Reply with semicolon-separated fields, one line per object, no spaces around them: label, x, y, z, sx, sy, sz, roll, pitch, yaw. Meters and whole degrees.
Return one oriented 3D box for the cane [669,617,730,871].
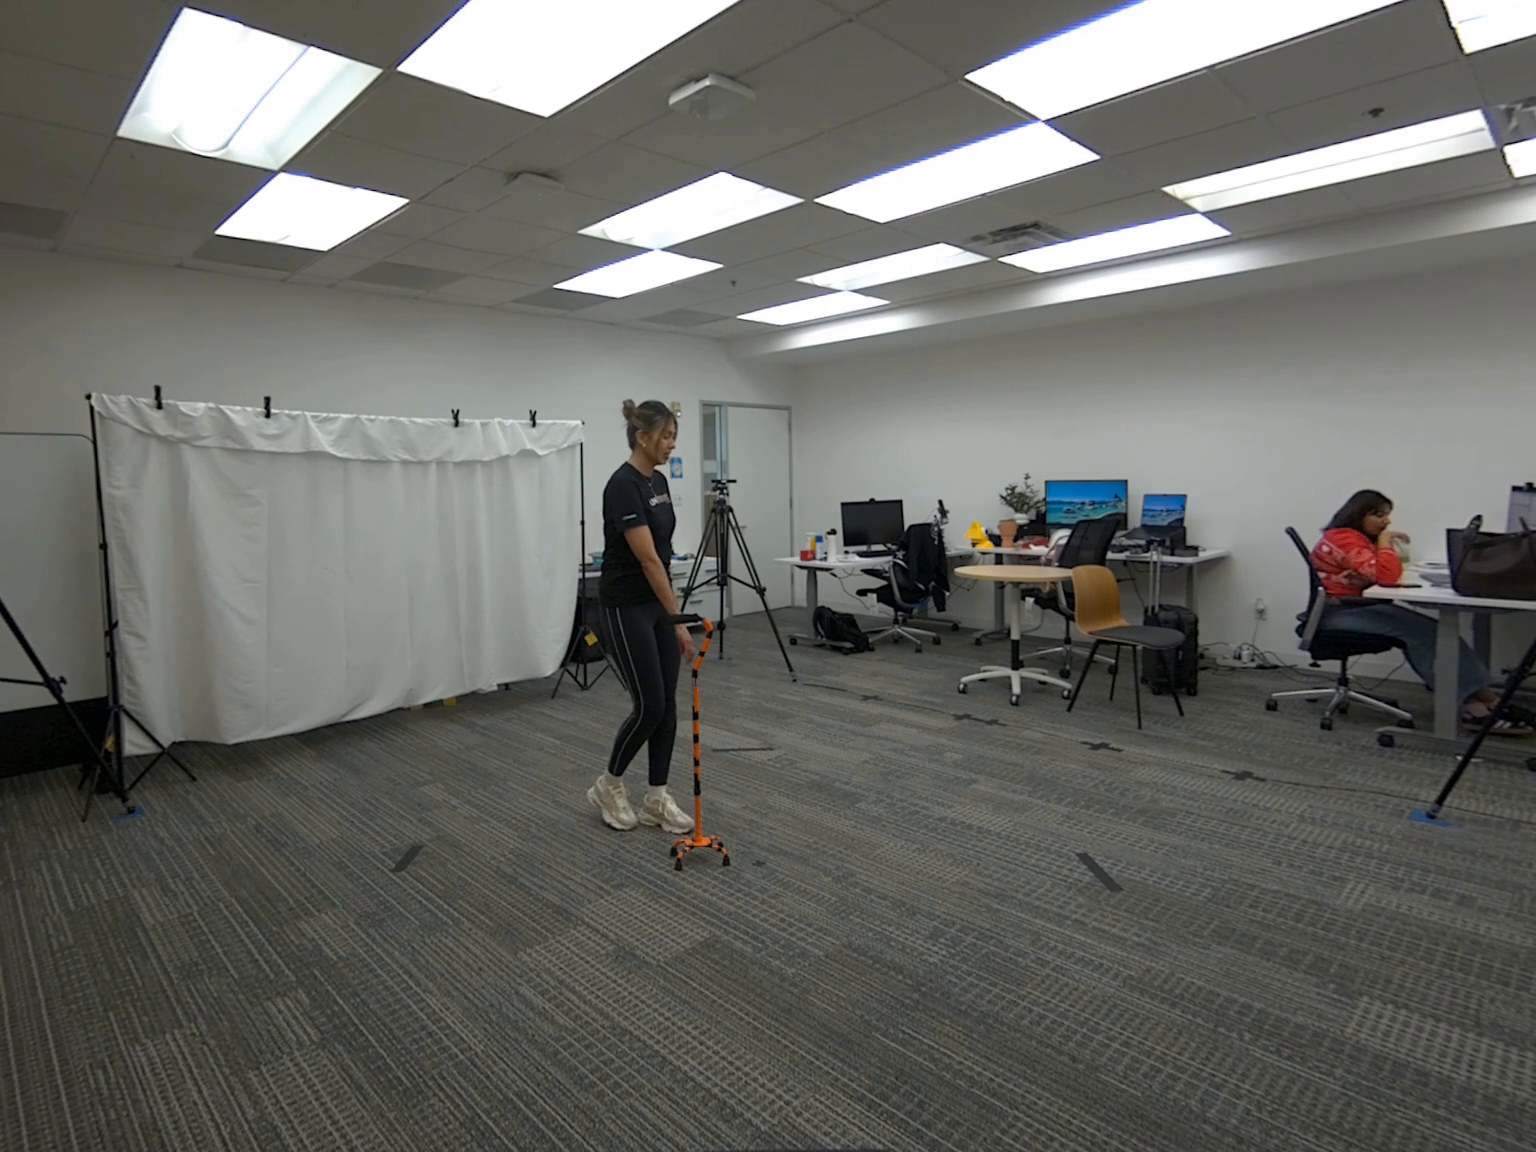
cane;-0.255;0.595;3.127;0.204;0.905;0.154;-2;3;-13
